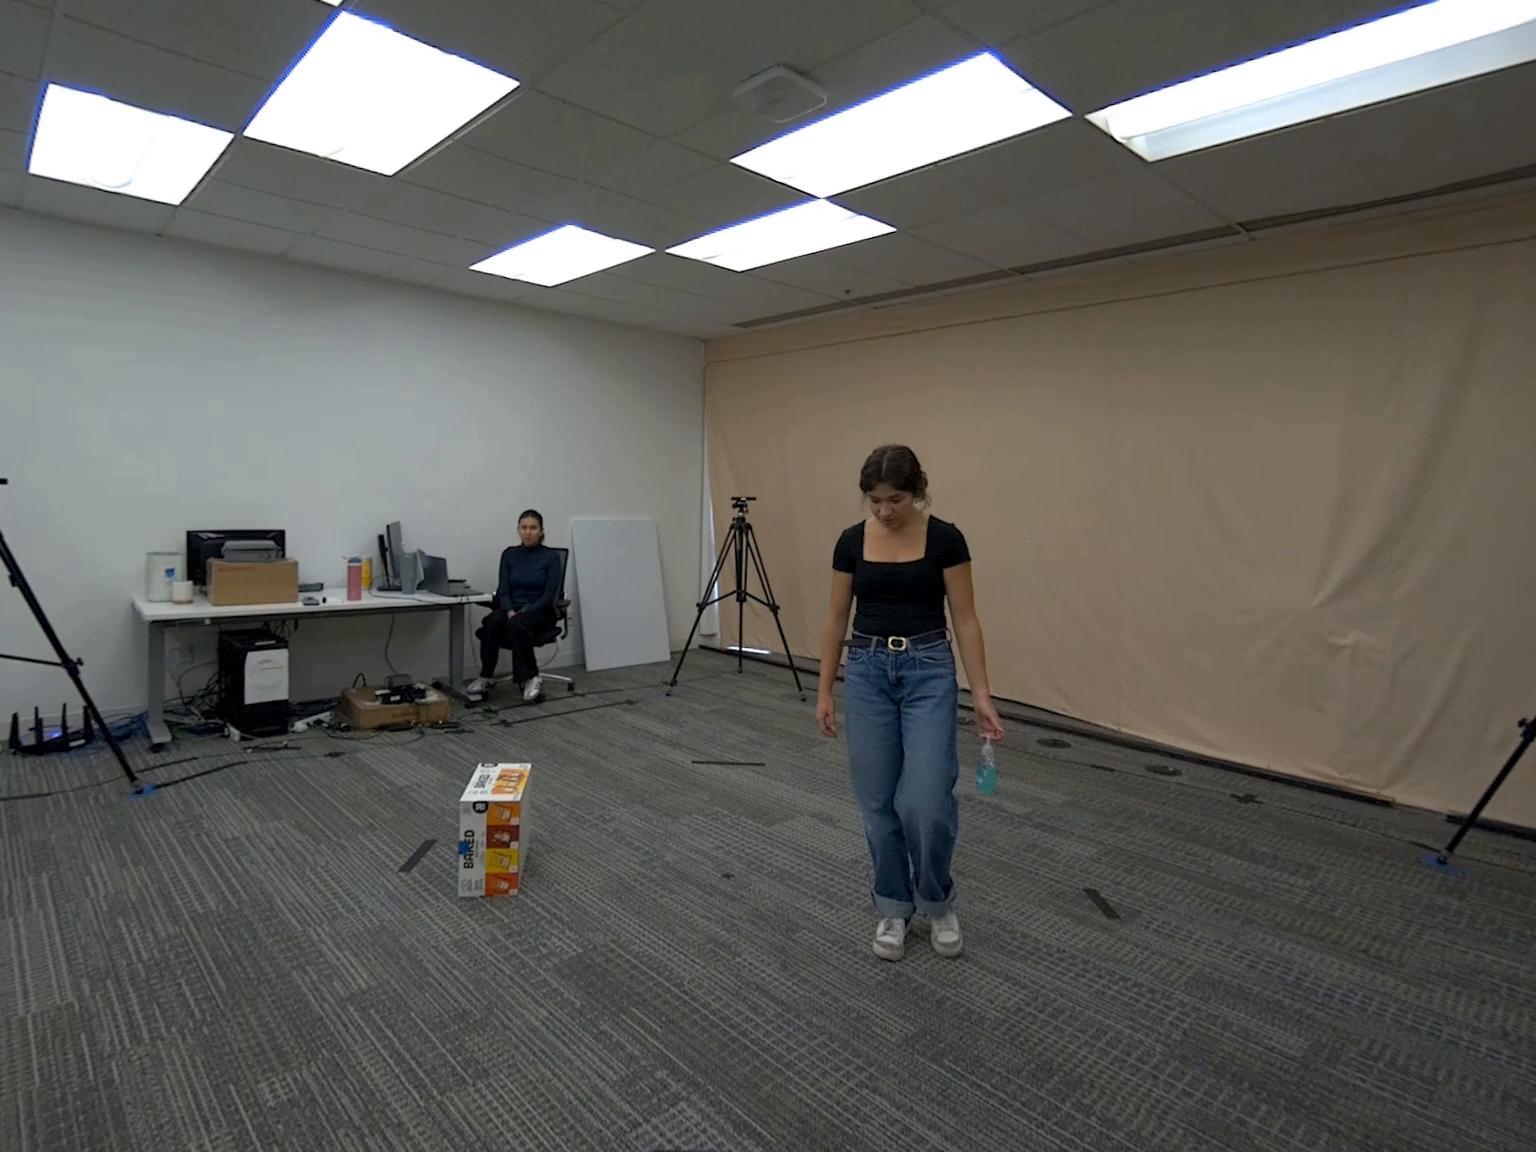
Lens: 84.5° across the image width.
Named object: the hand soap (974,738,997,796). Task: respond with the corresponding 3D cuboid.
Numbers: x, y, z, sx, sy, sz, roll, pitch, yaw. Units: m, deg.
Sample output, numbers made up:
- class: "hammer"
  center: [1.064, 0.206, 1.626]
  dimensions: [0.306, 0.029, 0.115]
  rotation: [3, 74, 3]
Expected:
- class: "hand soap"
  center: [0.622, 0.541, 2.408]
  dimensions: [0.043, 0.168, 0.085]
  rotation: [6, -1, -12]
